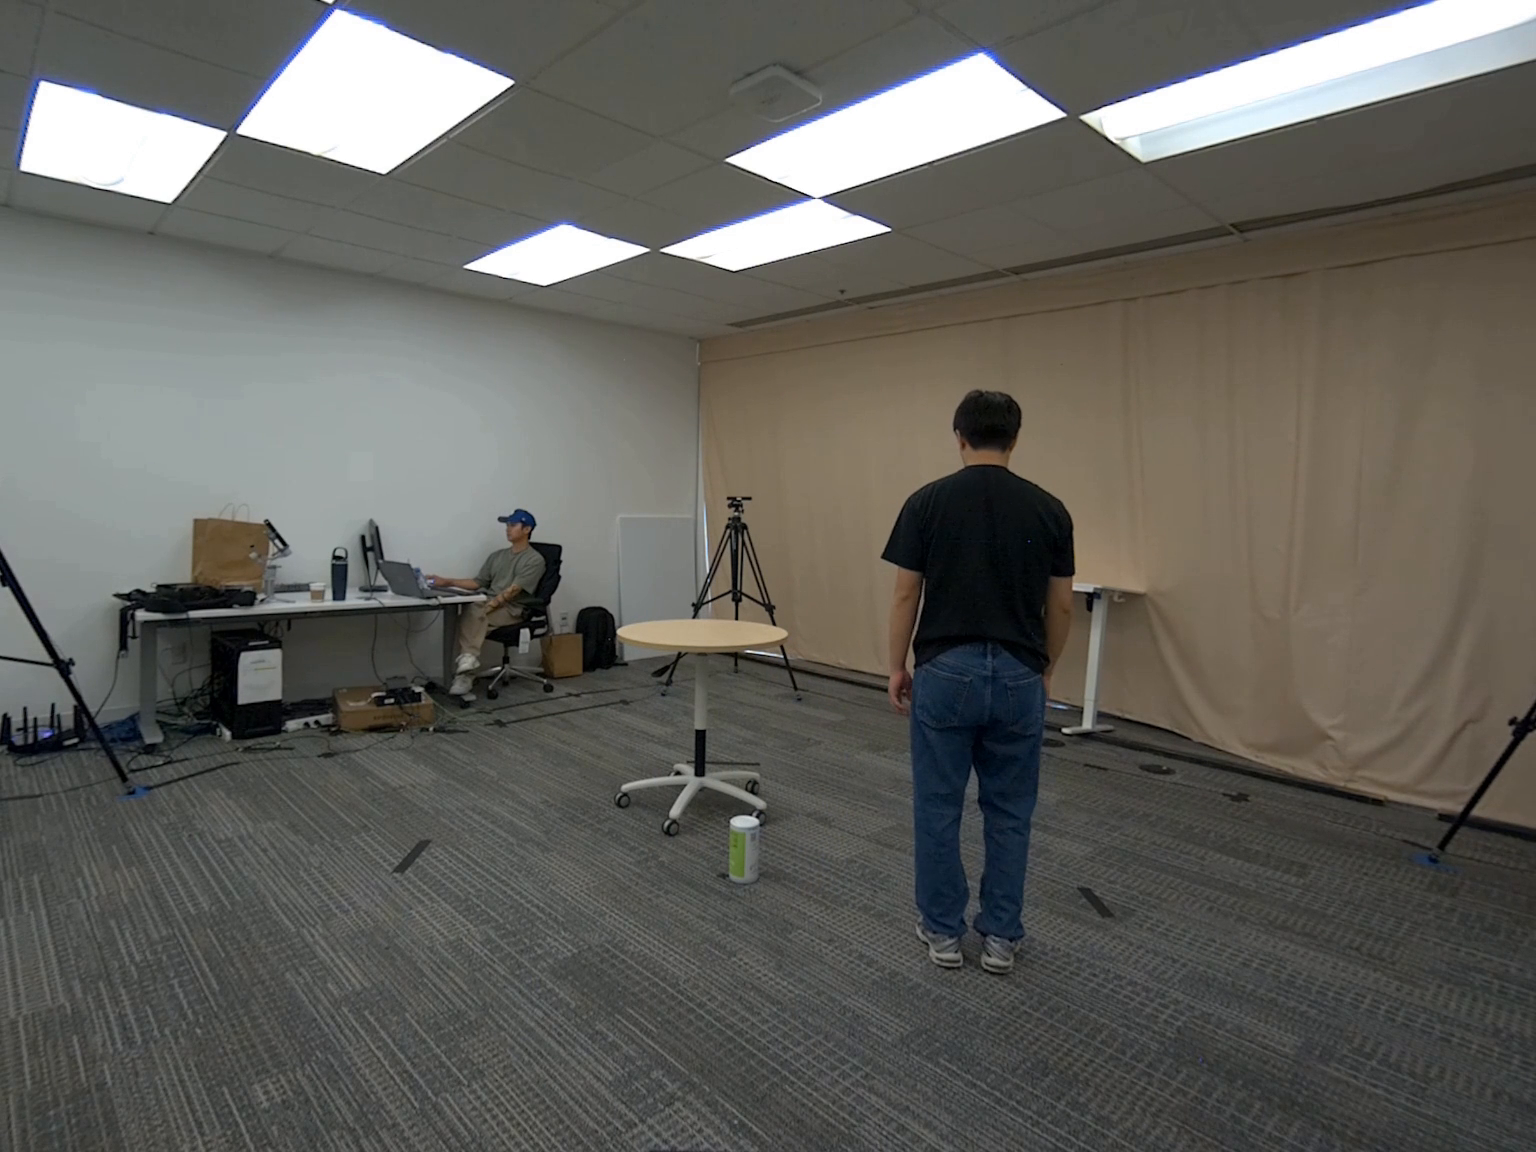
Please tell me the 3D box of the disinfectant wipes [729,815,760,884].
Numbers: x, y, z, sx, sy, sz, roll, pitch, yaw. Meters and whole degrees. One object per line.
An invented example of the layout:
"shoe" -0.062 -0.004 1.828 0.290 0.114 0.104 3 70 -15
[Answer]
"disinfectant wipes" -0.101 1.004 3.081 0.118 0.217 0.118 2 4 -1
